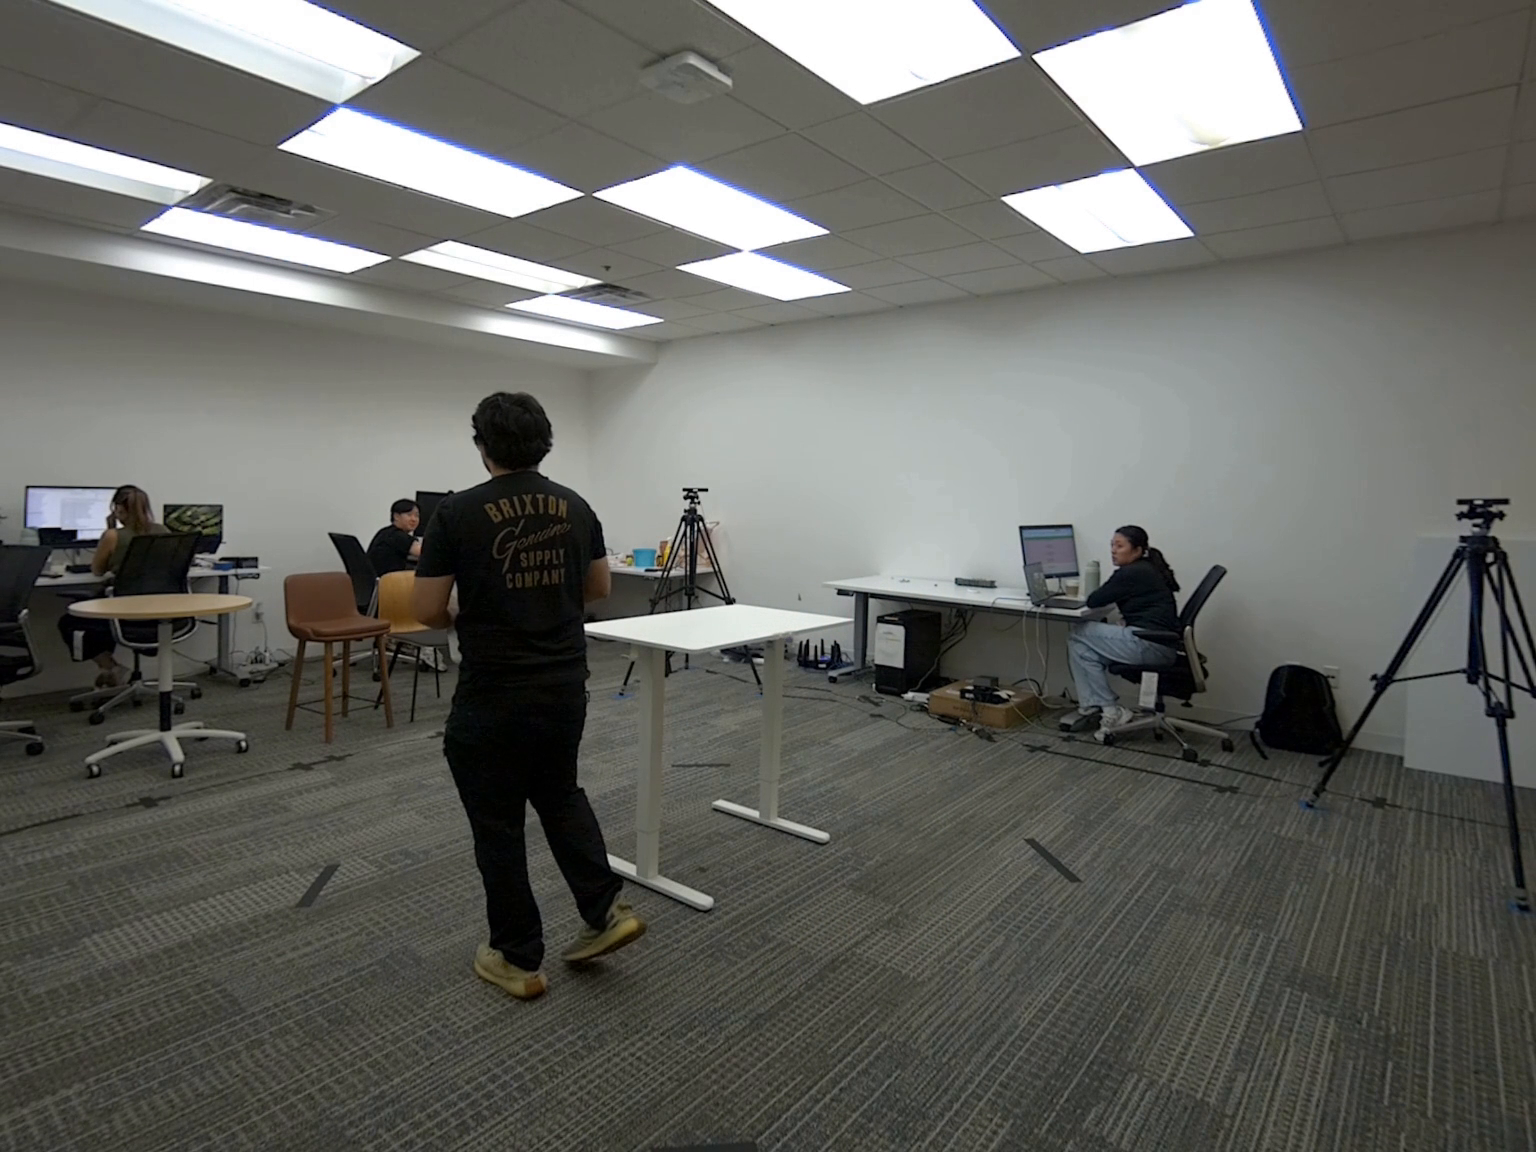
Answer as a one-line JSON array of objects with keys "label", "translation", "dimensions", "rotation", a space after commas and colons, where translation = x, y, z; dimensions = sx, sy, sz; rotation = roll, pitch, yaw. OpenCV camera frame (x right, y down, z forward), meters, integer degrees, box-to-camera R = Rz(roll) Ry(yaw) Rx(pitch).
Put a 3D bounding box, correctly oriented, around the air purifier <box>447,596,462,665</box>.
[{"label": "air purifier", "translation": [-0.888, 0.127, 2.597], "dimensions": [0.166, 0.266, 0.176], "rotation": [-7, -1, -43]}]
